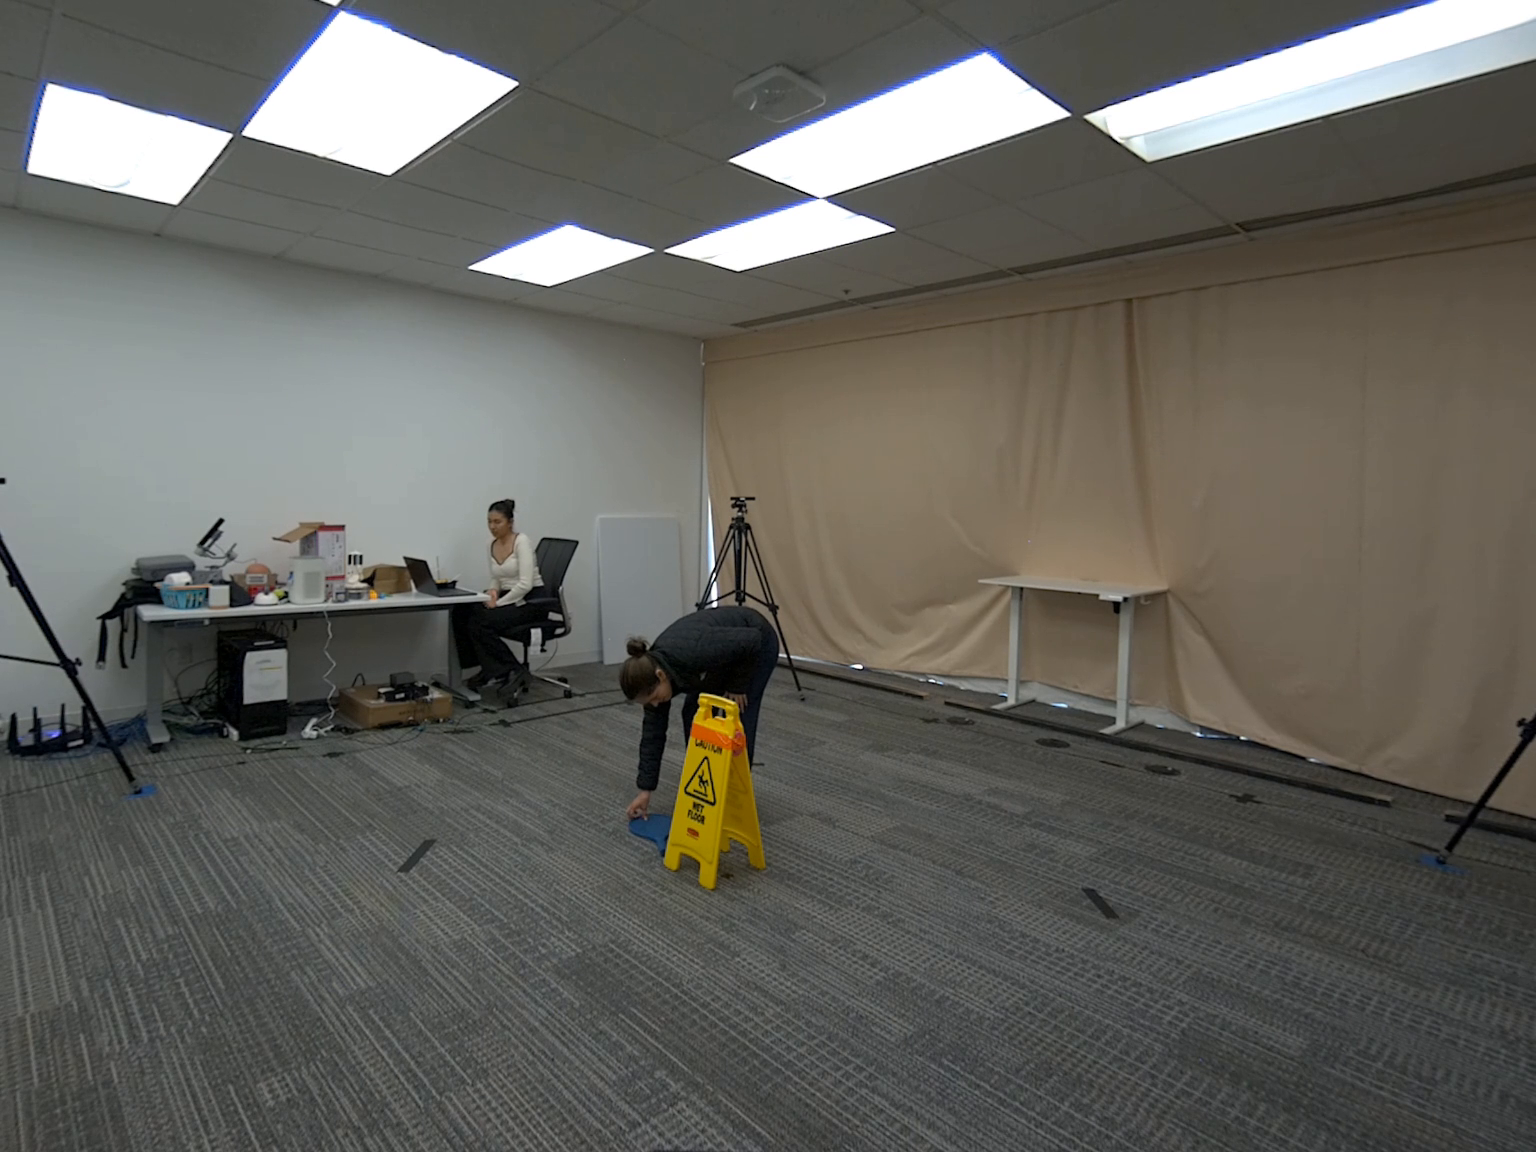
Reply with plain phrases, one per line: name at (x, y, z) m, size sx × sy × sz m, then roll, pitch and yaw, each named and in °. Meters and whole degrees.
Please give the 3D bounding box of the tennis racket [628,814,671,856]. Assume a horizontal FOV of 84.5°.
tennis racket at (-0.465, 1.059, 3.451) m, size 0.212 × 0.032 × 0.438 m, roll -2°, pitch 4°, yaw -13°
